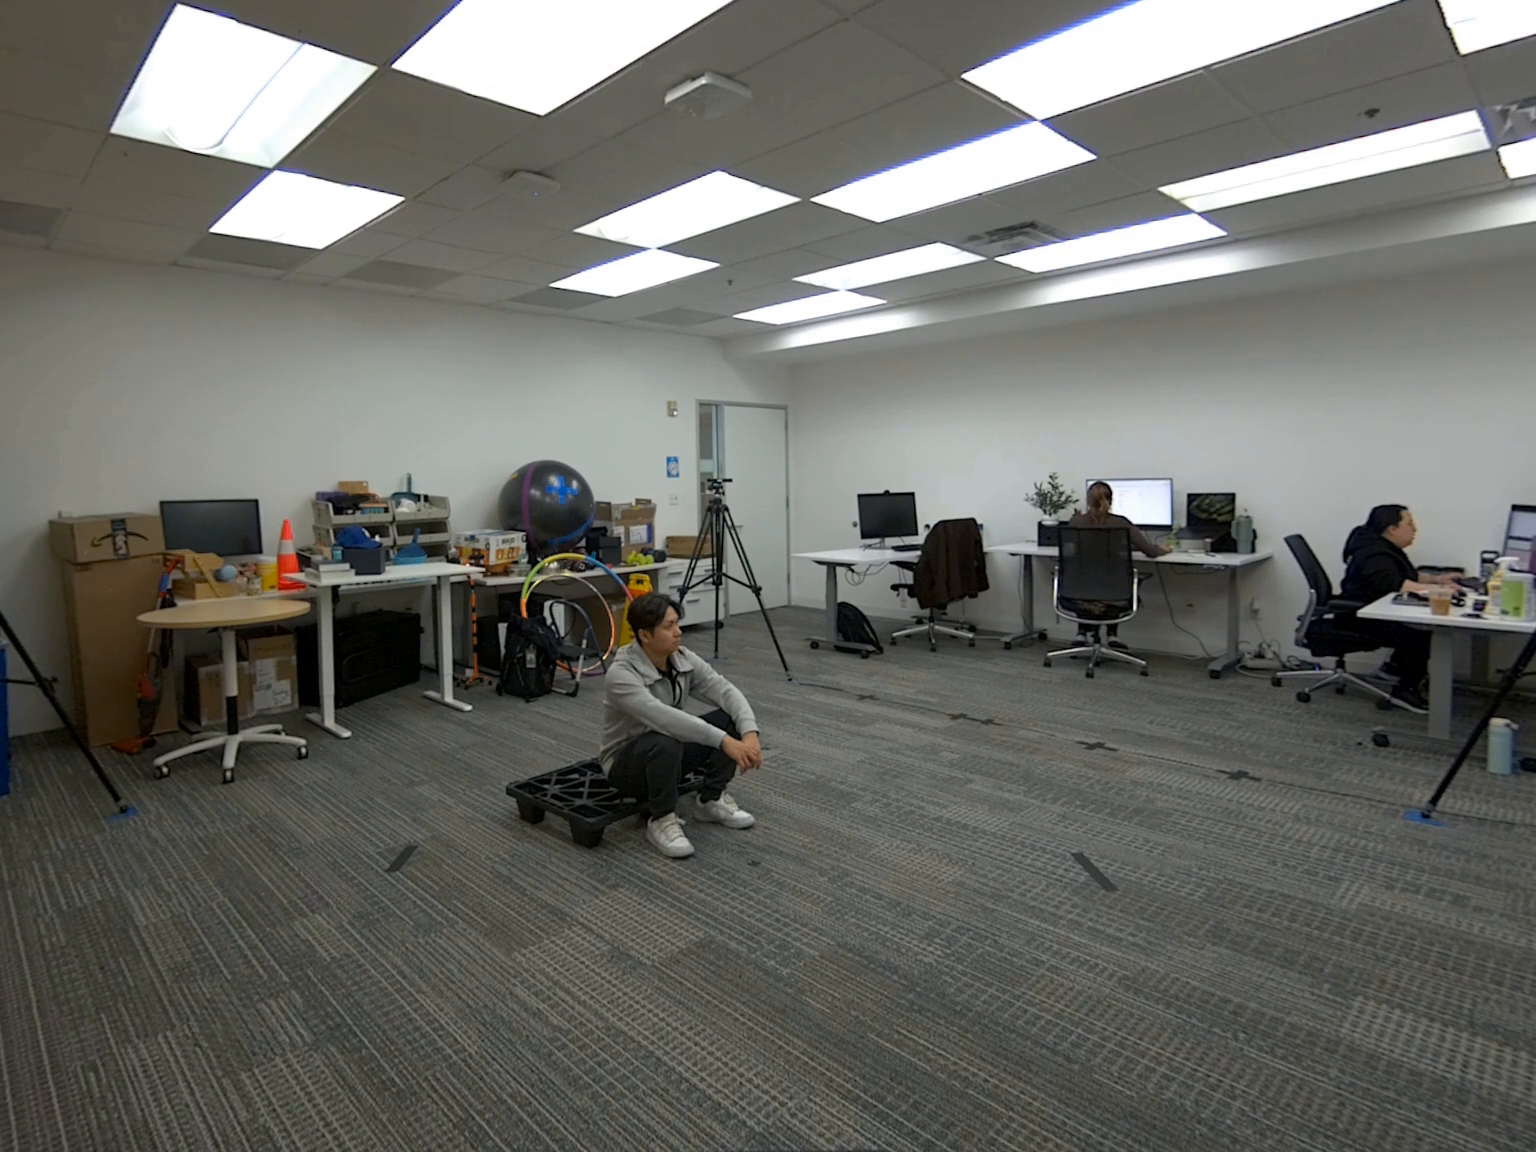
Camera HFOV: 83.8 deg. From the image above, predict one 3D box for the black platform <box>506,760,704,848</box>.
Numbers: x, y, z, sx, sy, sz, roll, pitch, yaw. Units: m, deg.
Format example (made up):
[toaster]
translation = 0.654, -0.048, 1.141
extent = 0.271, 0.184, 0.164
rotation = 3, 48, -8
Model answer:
[black platform]
translation = -0.615, 0.925, 3.670
extent = 0.624, 0.142, 0.785
rotation = 5, 9, 41
